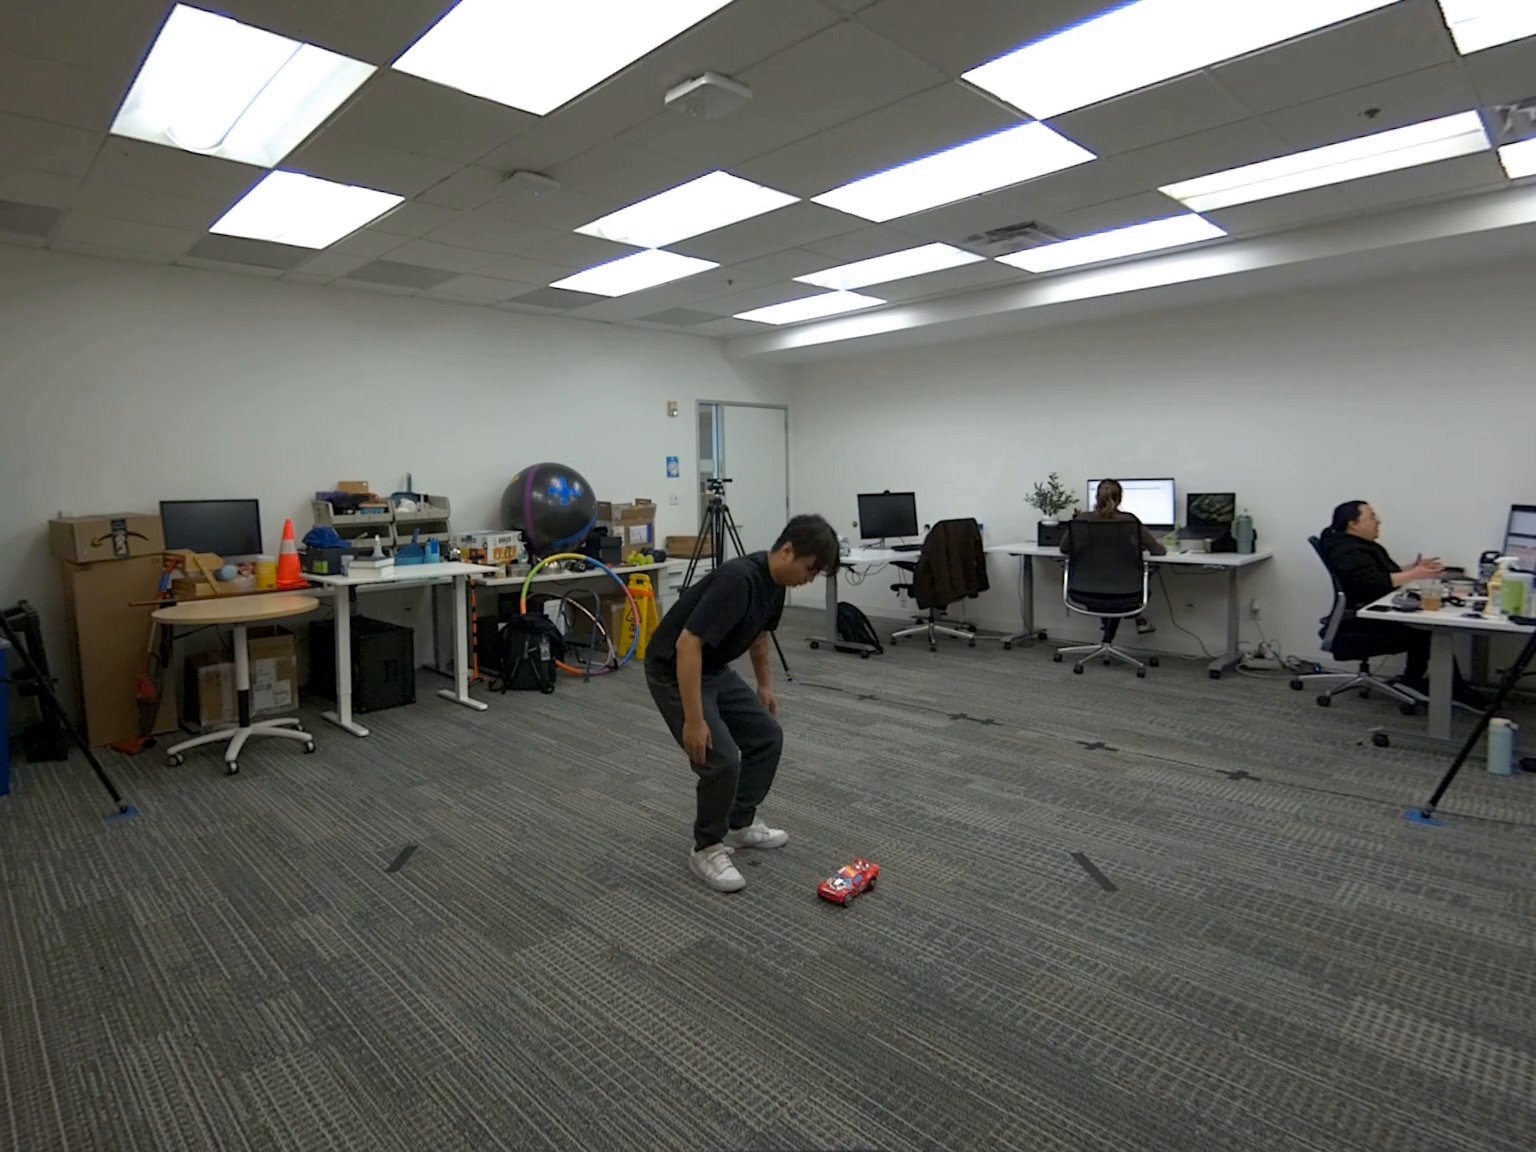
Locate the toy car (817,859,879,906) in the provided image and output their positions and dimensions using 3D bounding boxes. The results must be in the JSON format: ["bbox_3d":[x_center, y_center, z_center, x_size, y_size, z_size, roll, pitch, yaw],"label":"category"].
[{"bbox_3d":[0.279,1.032,2.884,0.134,0.082,0.250,3,17,41],"label":"toy car"}]
